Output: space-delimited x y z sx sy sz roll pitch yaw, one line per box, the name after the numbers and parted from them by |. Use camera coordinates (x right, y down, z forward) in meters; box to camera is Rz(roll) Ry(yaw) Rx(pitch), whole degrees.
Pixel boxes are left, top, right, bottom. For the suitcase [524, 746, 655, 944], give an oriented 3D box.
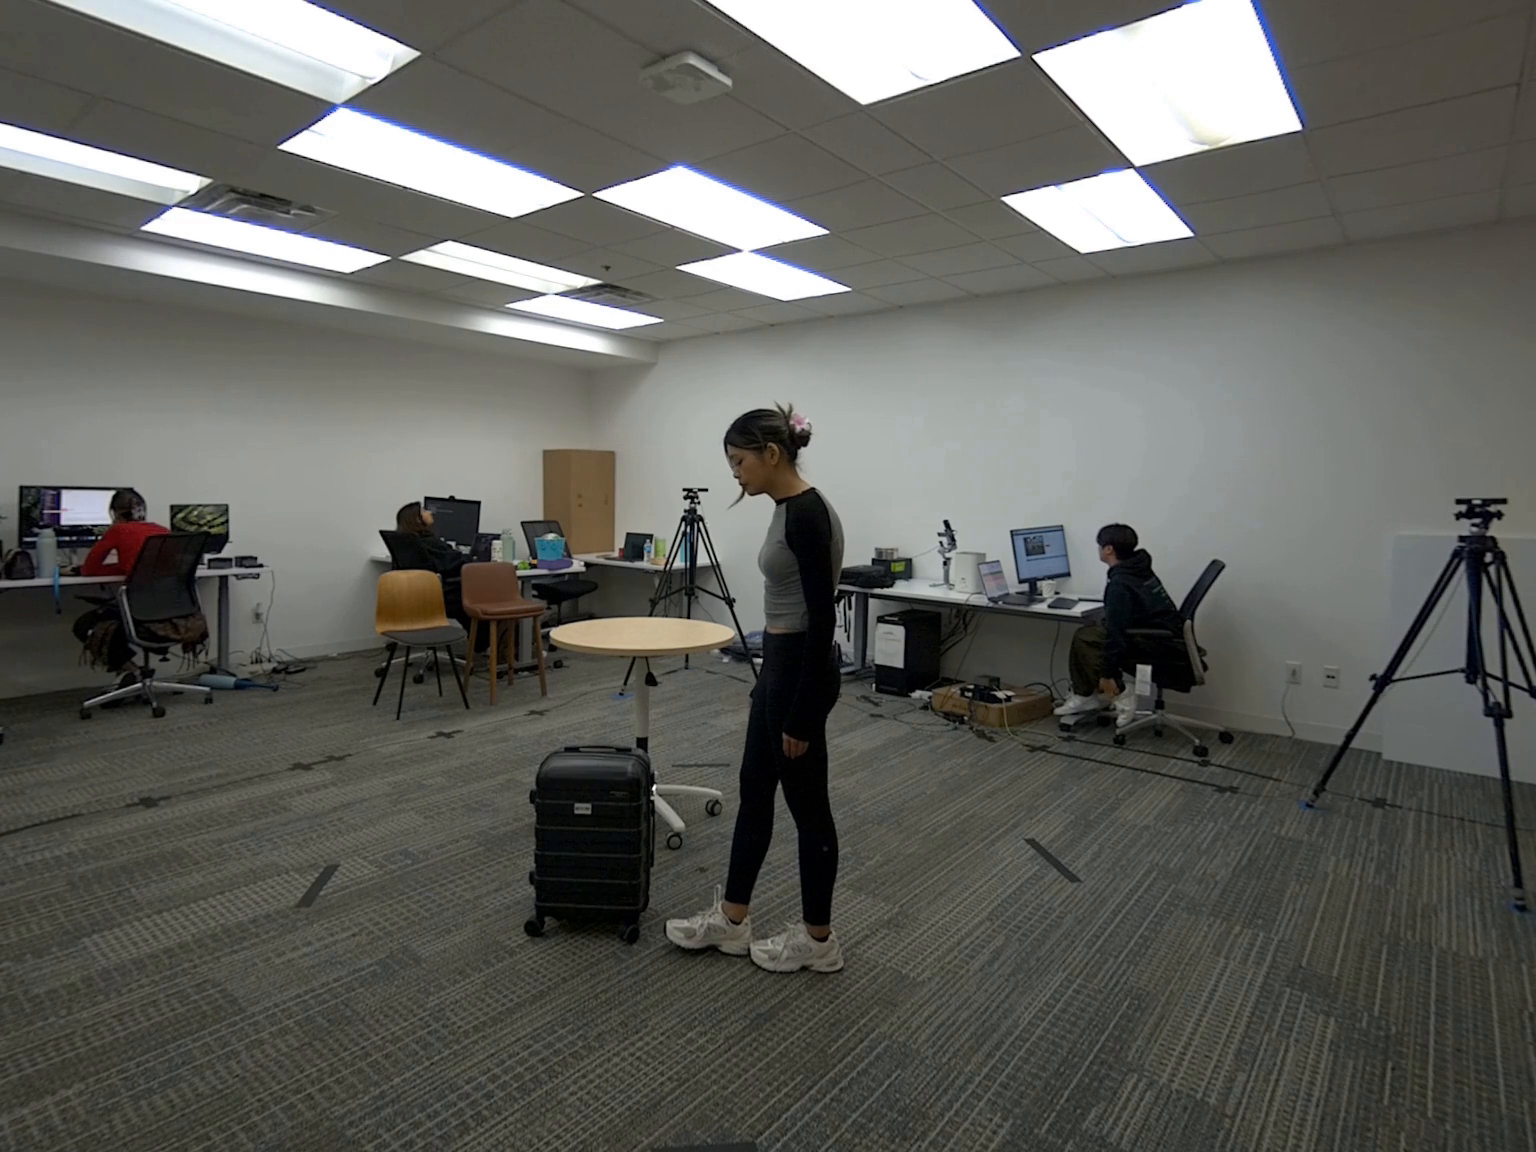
-0.570 0.835 2.707 0.376 0.547 0.249 2 4 1 | suitcase
